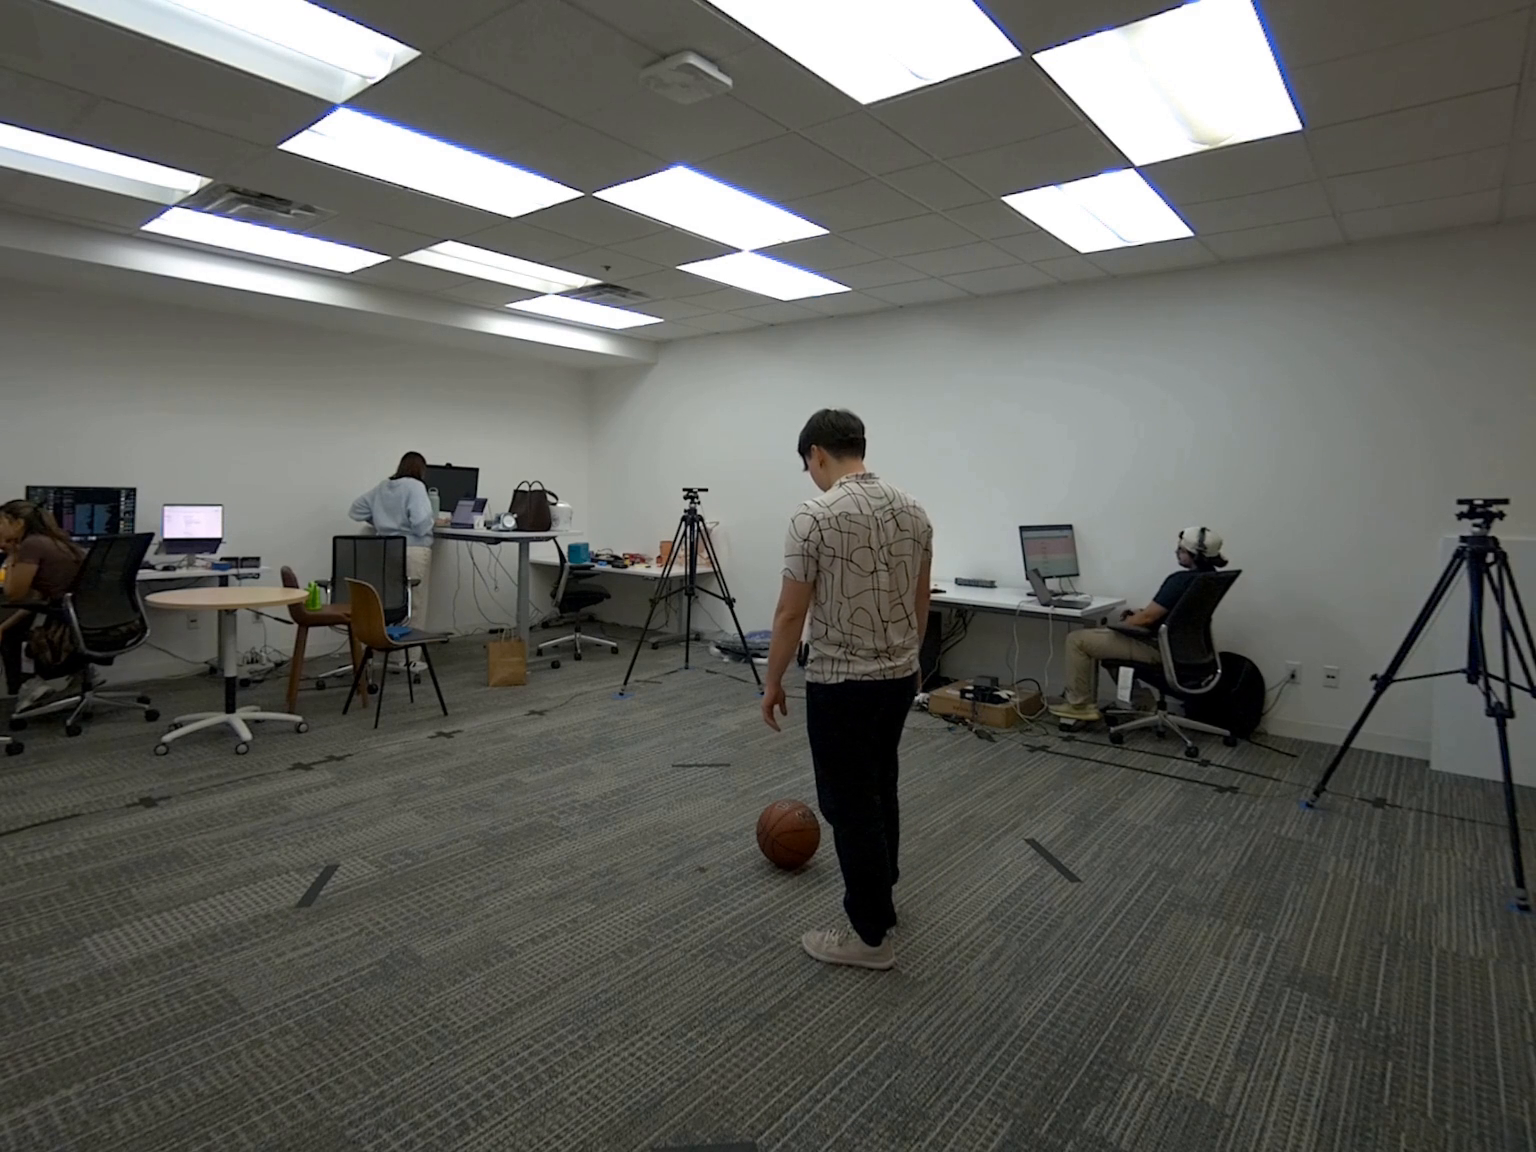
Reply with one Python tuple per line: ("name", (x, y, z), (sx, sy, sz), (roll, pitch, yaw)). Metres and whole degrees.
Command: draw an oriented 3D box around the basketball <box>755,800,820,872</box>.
("basketball", (0.068, 0.948, 3.160), (0.235, 0.235, 0.237), (1, 4, -2))
